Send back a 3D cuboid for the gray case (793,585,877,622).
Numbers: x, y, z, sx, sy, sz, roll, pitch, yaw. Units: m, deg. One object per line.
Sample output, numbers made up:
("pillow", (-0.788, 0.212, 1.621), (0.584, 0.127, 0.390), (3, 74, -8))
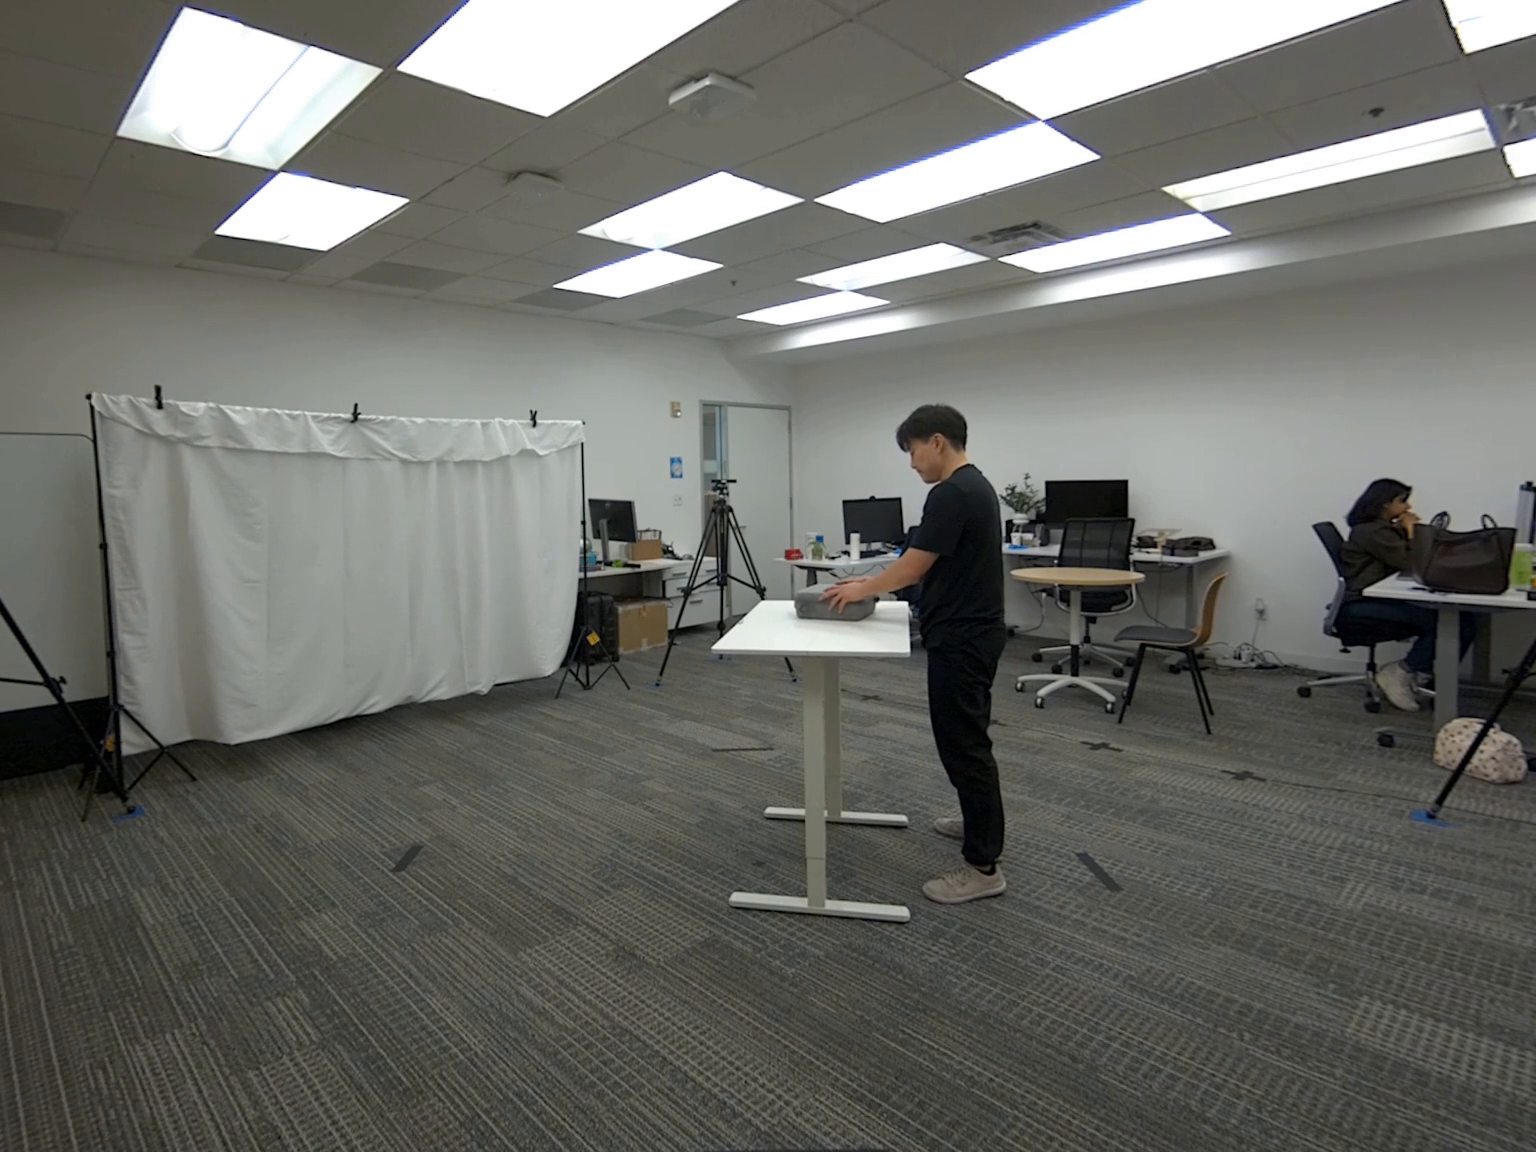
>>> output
("gray case", (0.252, 0.095, 3.205), (0.267, 0.104, 0.252), (2, 8, 26))
